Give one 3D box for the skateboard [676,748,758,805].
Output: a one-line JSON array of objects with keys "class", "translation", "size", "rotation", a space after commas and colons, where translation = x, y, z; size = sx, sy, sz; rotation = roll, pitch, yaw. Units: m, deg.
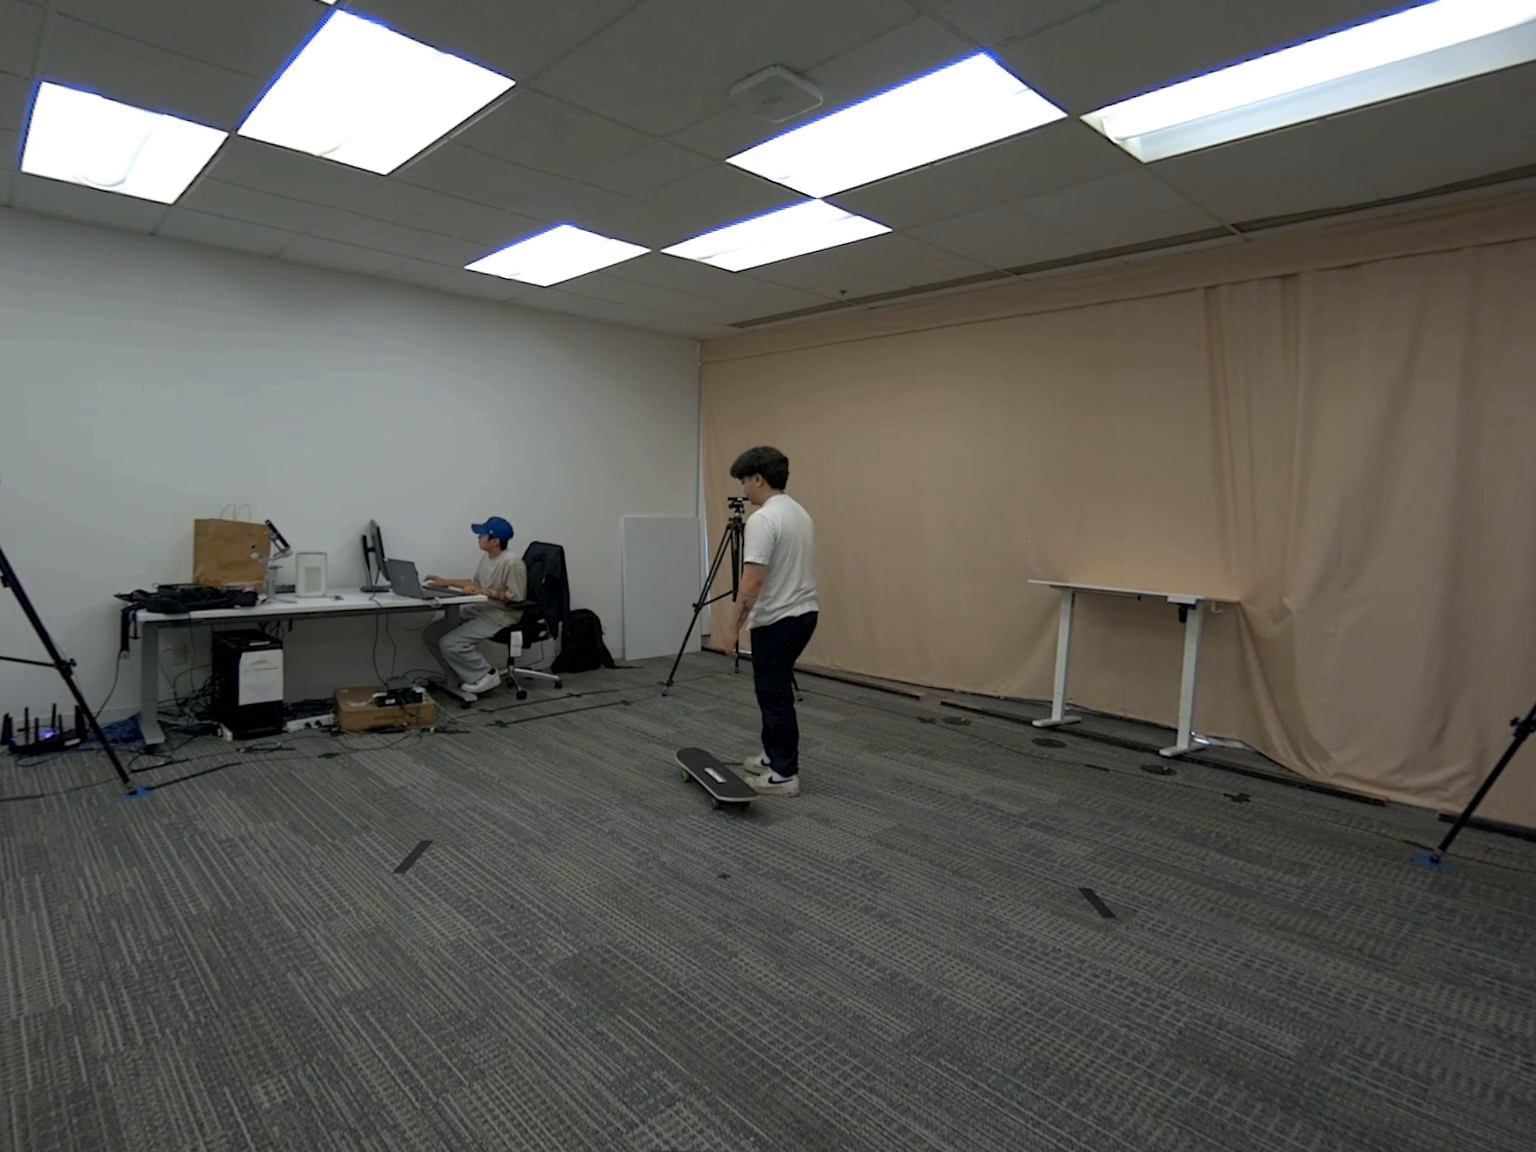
[{"class": "skateboard", "translation": [-0.261, 0.972, 3.982], "size": [0.190, 0.110, 0.801], "rotation": [0, 5, -24]}]
